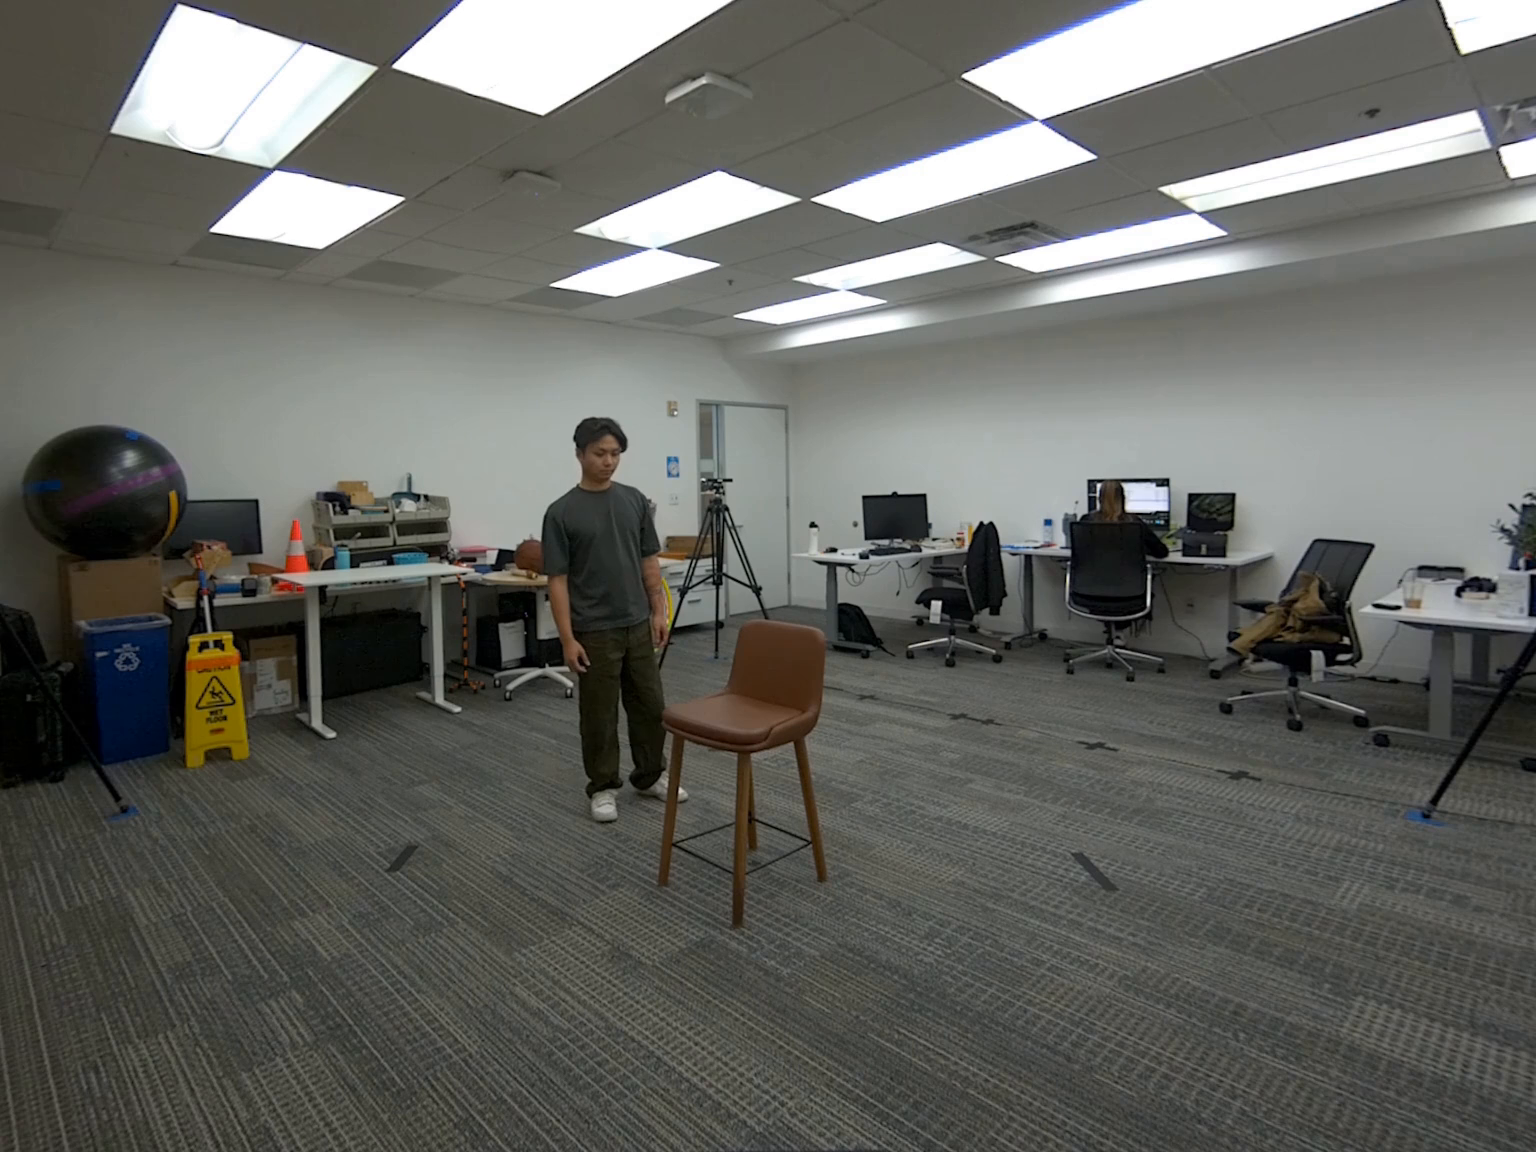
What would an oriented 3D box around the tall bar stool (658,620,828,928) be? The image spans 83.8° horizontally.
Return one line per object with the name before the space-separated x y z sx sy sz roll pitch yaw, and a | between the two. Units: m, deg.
tall bar stool | -0.081 0.629 2.930 0.455 0.887 0.471 -3 5 -44
